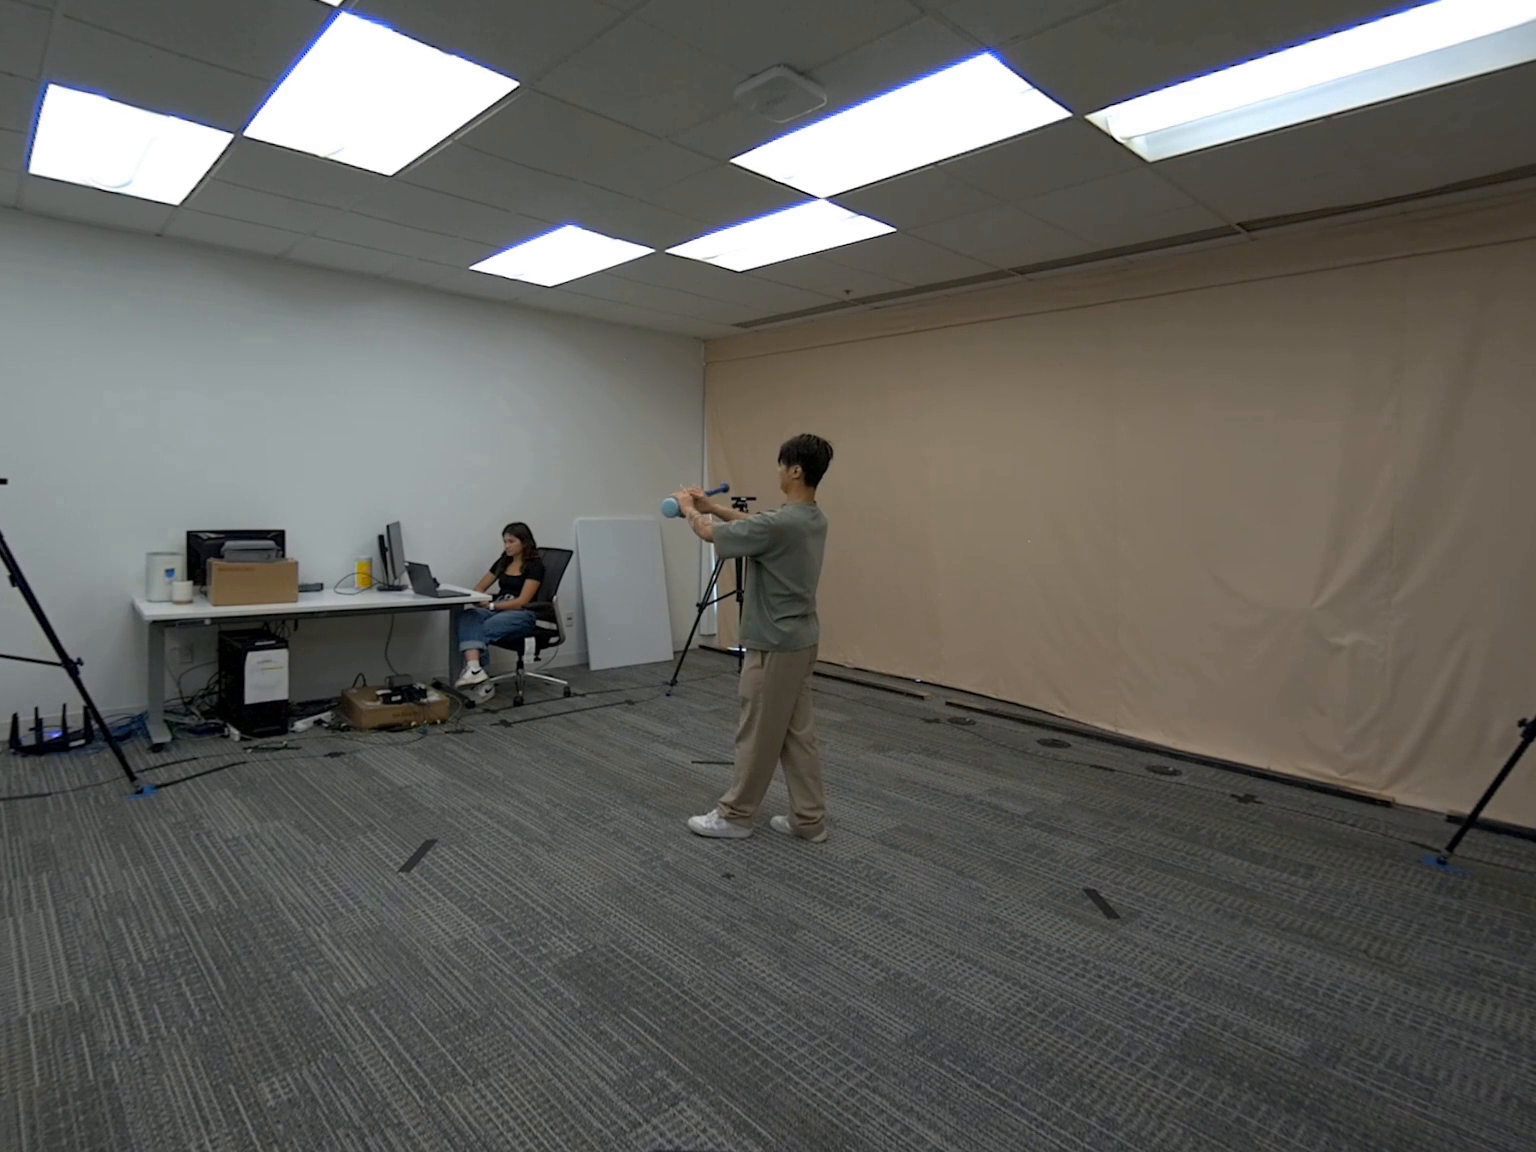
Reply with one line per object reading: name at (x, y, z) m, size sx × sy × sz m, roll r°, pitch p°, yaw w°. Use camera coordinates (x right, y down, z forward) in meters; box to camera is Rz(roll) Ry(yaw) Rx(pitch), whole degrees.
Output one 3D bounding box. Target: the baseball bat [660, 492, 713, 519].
baseball bat at (-0.330, -0.358, 3.812) m, size 0.091 × 0.088 × 0.539 m, roll 3°, pitch 16°, yaw 23°
